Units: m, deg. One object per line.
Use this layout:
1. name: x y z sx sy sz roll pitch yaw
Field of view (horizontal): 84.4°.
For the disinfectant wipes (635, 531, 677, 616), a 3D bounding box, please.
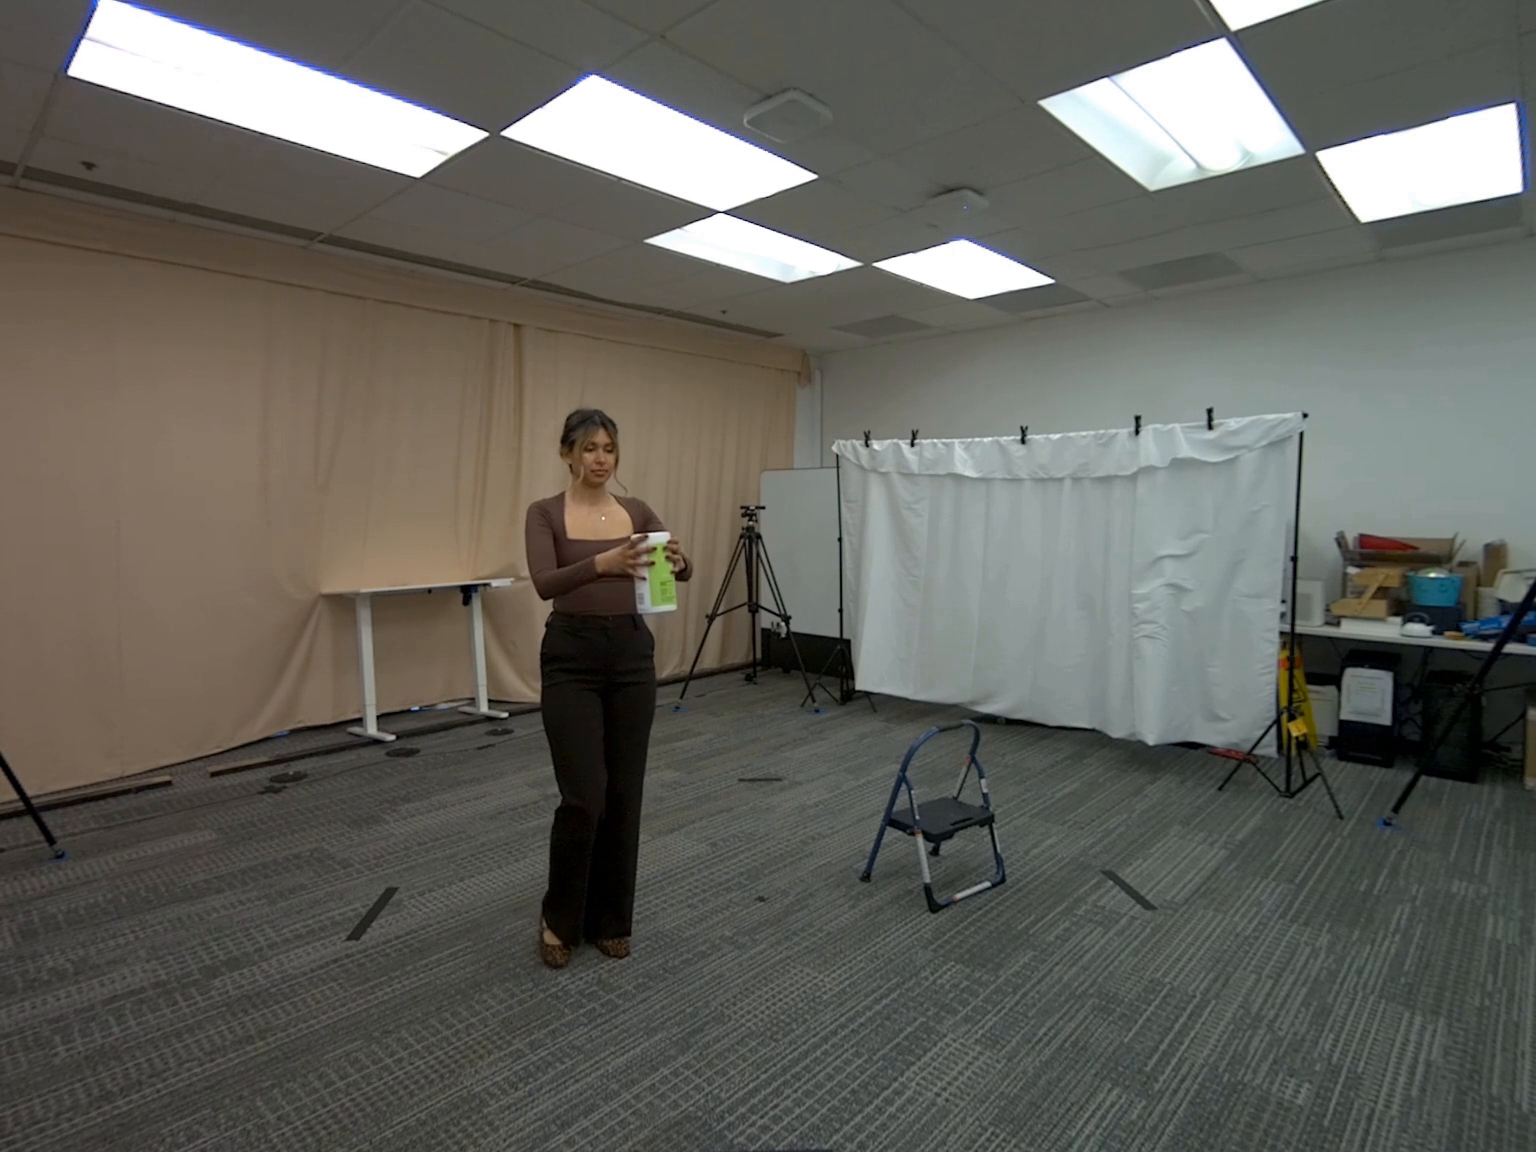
1. disinfectant wipes: -0.317 -0.007 2.282 0.118 0.217 0.118 -3 1 -2
